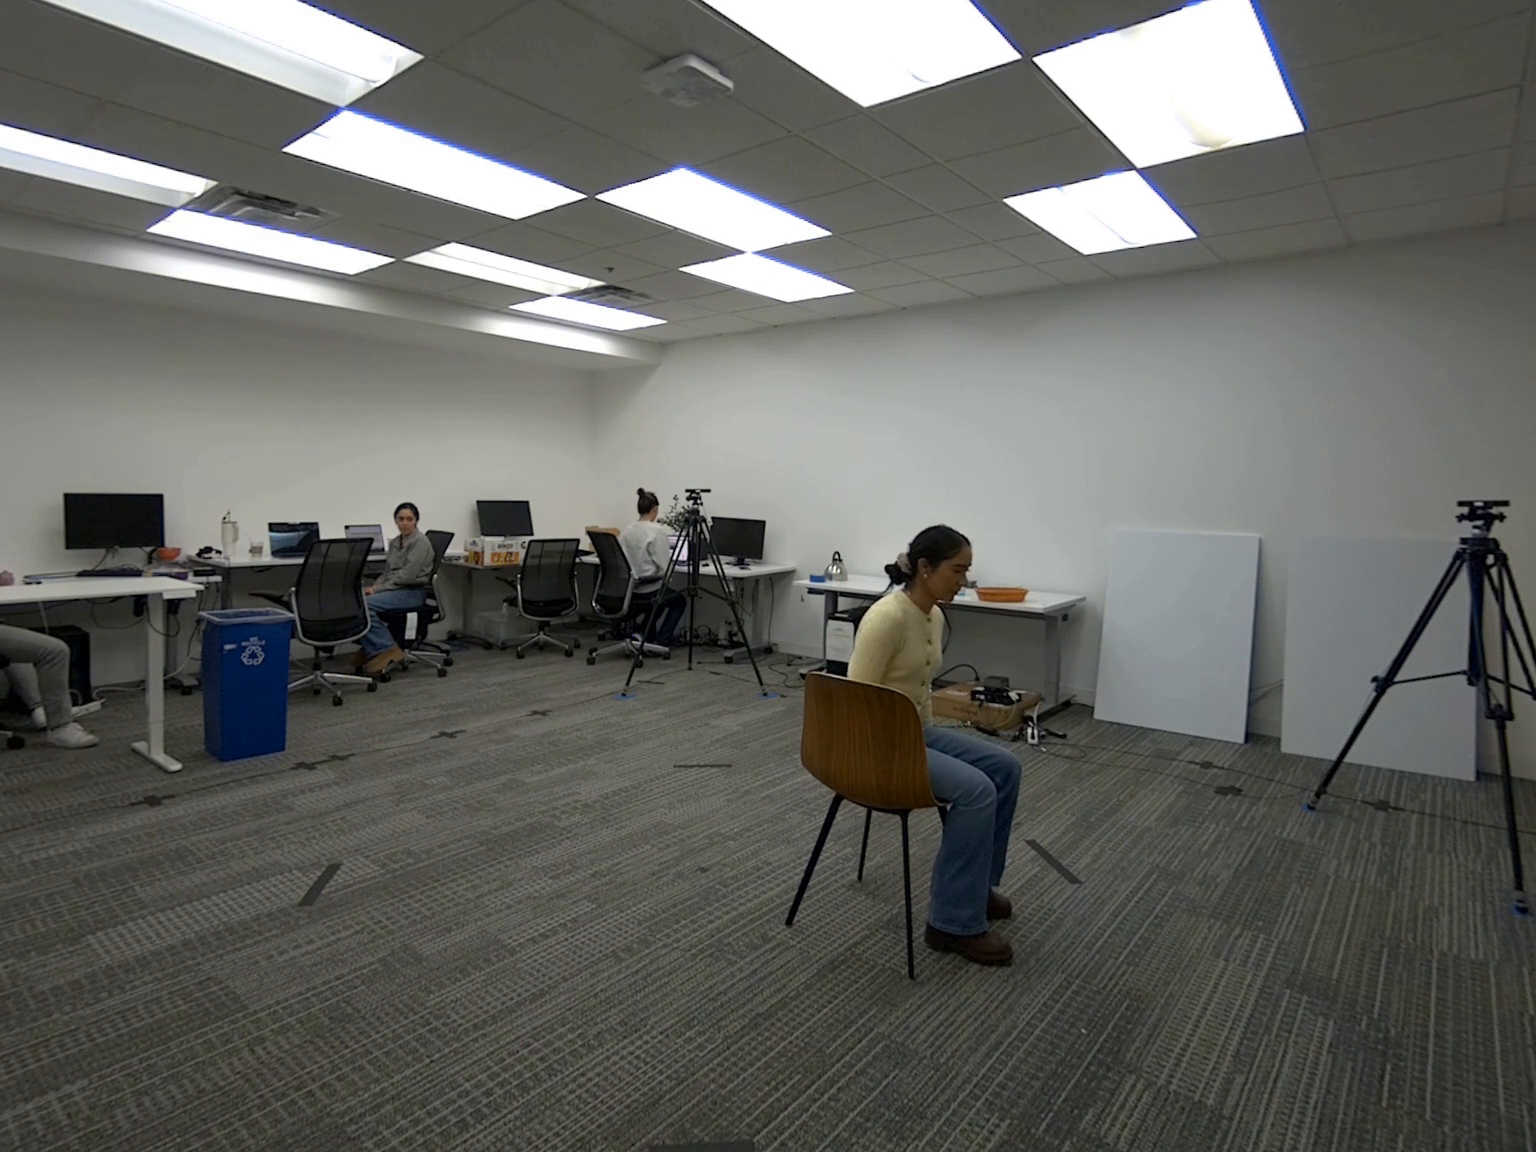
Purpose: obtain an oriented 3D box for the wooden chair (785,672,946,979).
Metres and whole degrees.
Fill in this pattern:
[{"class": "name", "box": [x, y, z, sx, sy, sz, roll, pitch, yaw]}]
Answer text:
[{"class": "wooden chair", "box": [0.375, 0.698, 2.738, 0.494, 0.872, 0.509, 4, 8, 39]}]
